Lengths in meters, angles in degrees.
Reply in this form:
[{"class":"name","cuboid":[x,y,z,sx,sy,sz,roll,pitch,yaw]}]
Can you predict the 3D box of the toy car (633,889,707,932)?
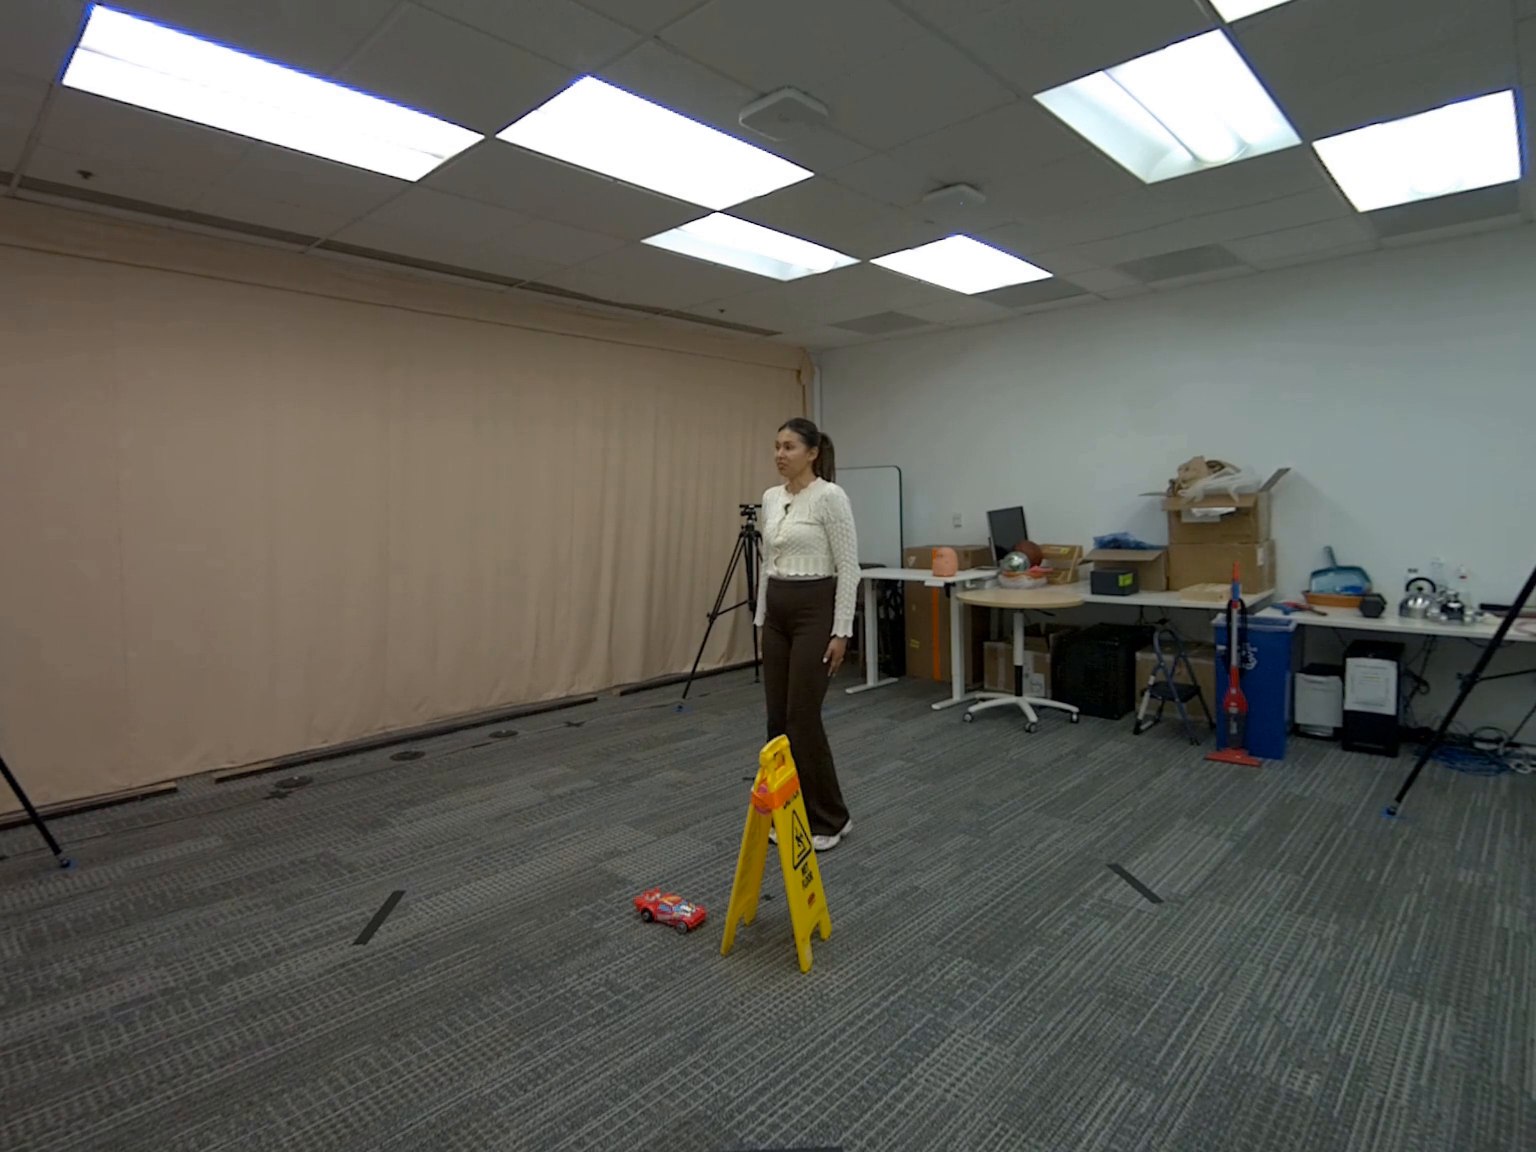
[{"class":"toy car","cuboid":[-0.336,1.130,2.838,0.263,0.083,0.127,15,12,32]}]
